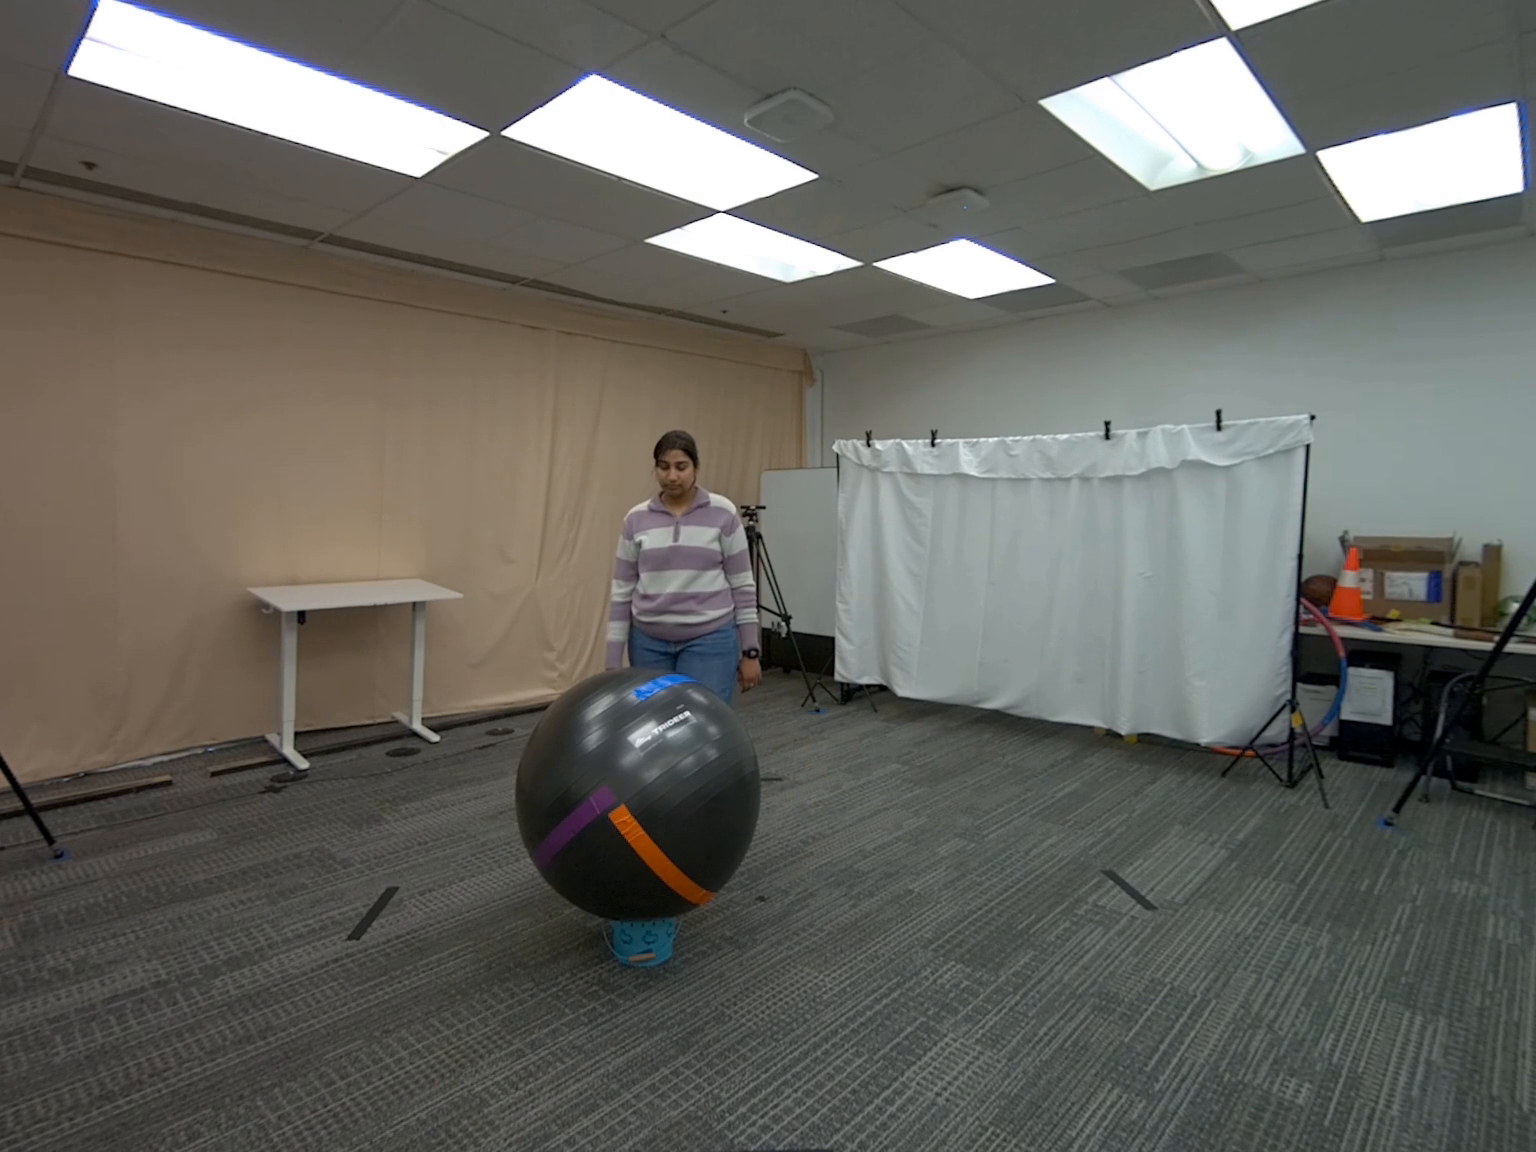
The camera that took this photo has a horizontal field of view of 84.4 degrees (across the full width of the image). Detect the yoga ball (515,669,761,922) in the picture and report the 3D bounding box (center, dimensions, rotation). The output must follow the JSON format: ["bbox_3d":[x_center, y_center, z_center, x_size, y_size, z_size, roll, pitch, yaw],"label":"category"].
[{"bbox_3d":[-0.415,0.670,2.611,0.757,0.756,0.761,0,4,-2],"label":"yoga ball"}]
